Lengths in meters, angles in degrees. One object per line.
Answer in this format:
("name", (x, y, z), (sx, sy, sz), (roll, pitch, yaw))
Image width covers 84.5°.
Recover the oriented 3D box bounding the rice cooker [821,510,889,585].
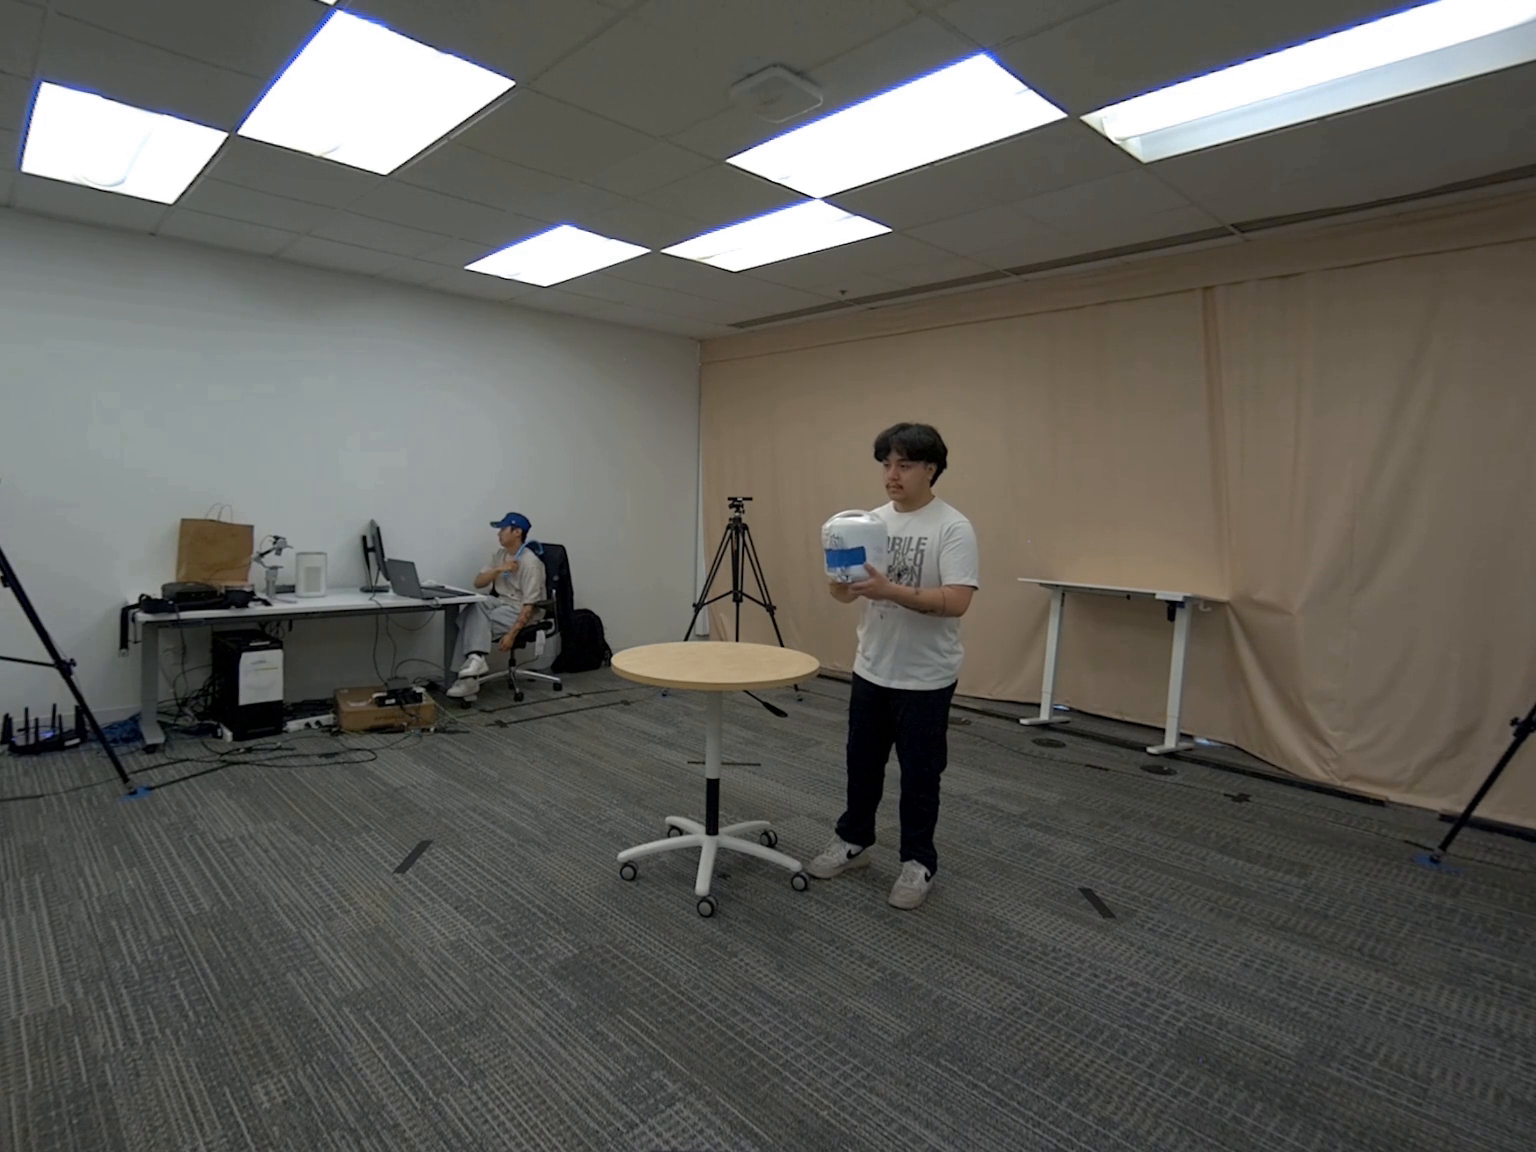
("rice cooker", (0.281, -0.099, 2.774), (0.219, 0.232, 0.220), (-1, 5, -11))
